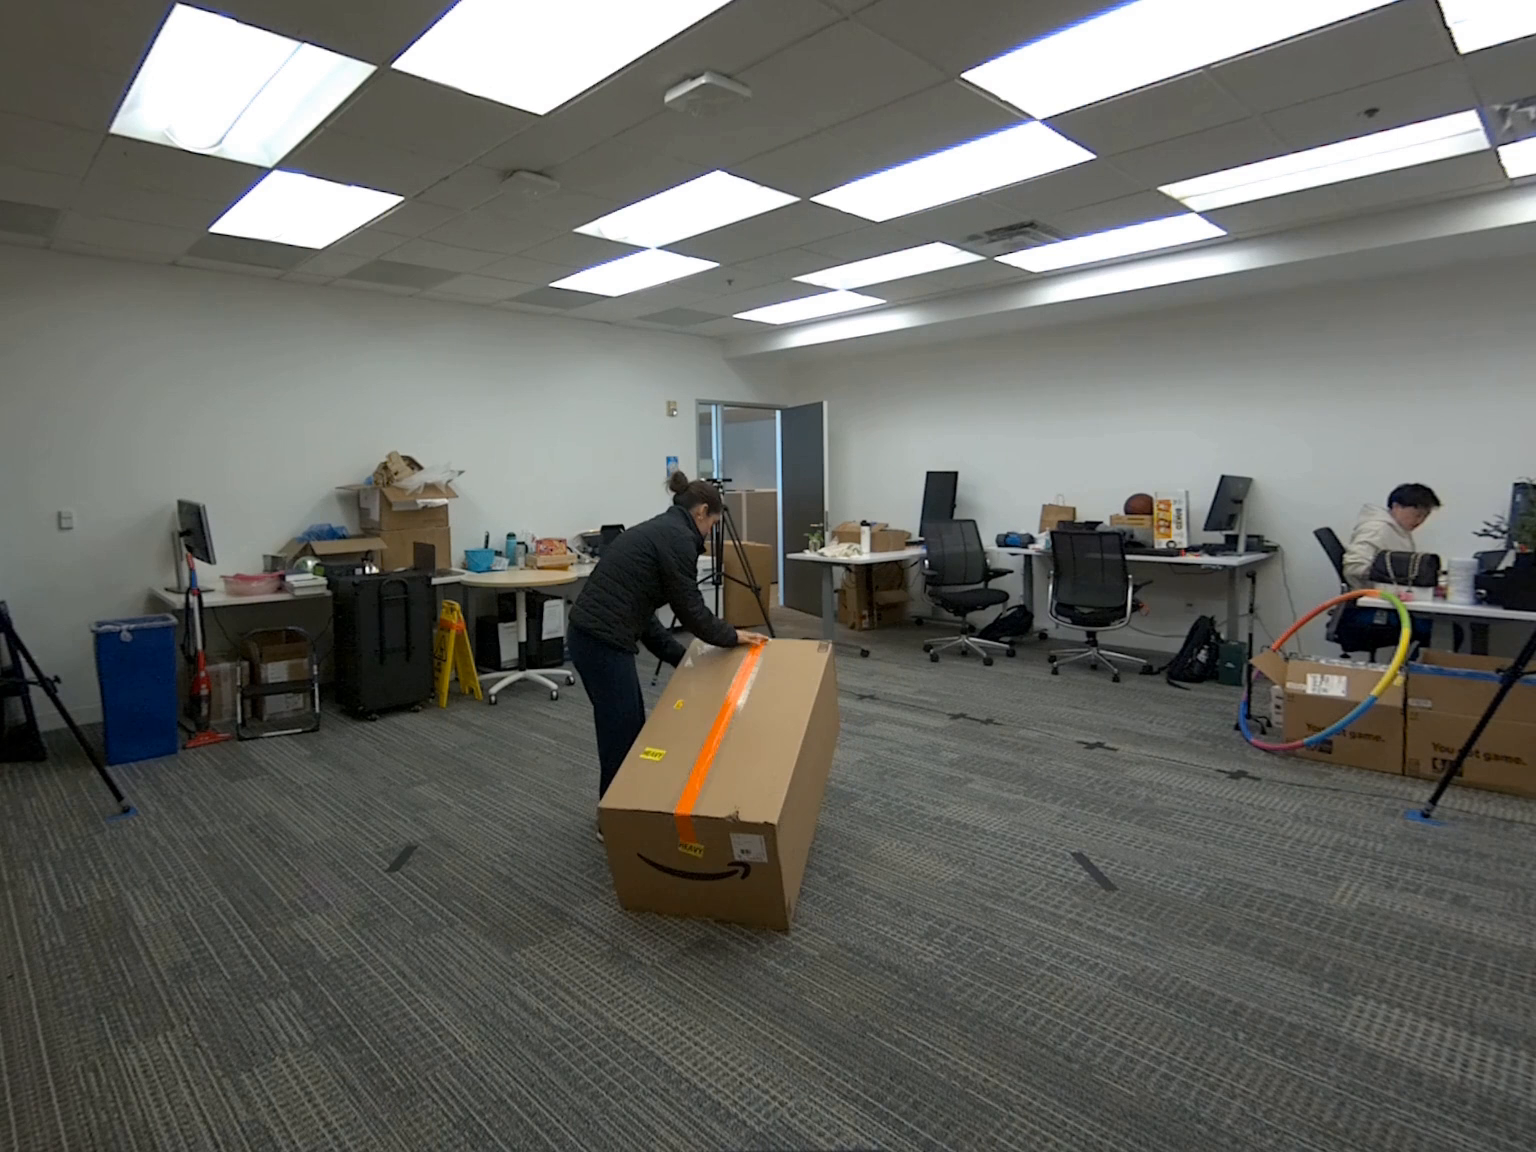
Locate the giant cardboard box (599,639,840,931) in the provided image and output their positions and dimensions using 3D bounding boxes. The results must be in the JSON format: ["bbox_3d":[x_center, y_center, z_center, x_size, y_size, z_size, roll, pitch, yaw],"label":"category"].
[{"bbox_3d":[-0.116,0.669,3.082,0.586,0.416,1.034,-1,26,15],"label":"giant cardboard box"}]
